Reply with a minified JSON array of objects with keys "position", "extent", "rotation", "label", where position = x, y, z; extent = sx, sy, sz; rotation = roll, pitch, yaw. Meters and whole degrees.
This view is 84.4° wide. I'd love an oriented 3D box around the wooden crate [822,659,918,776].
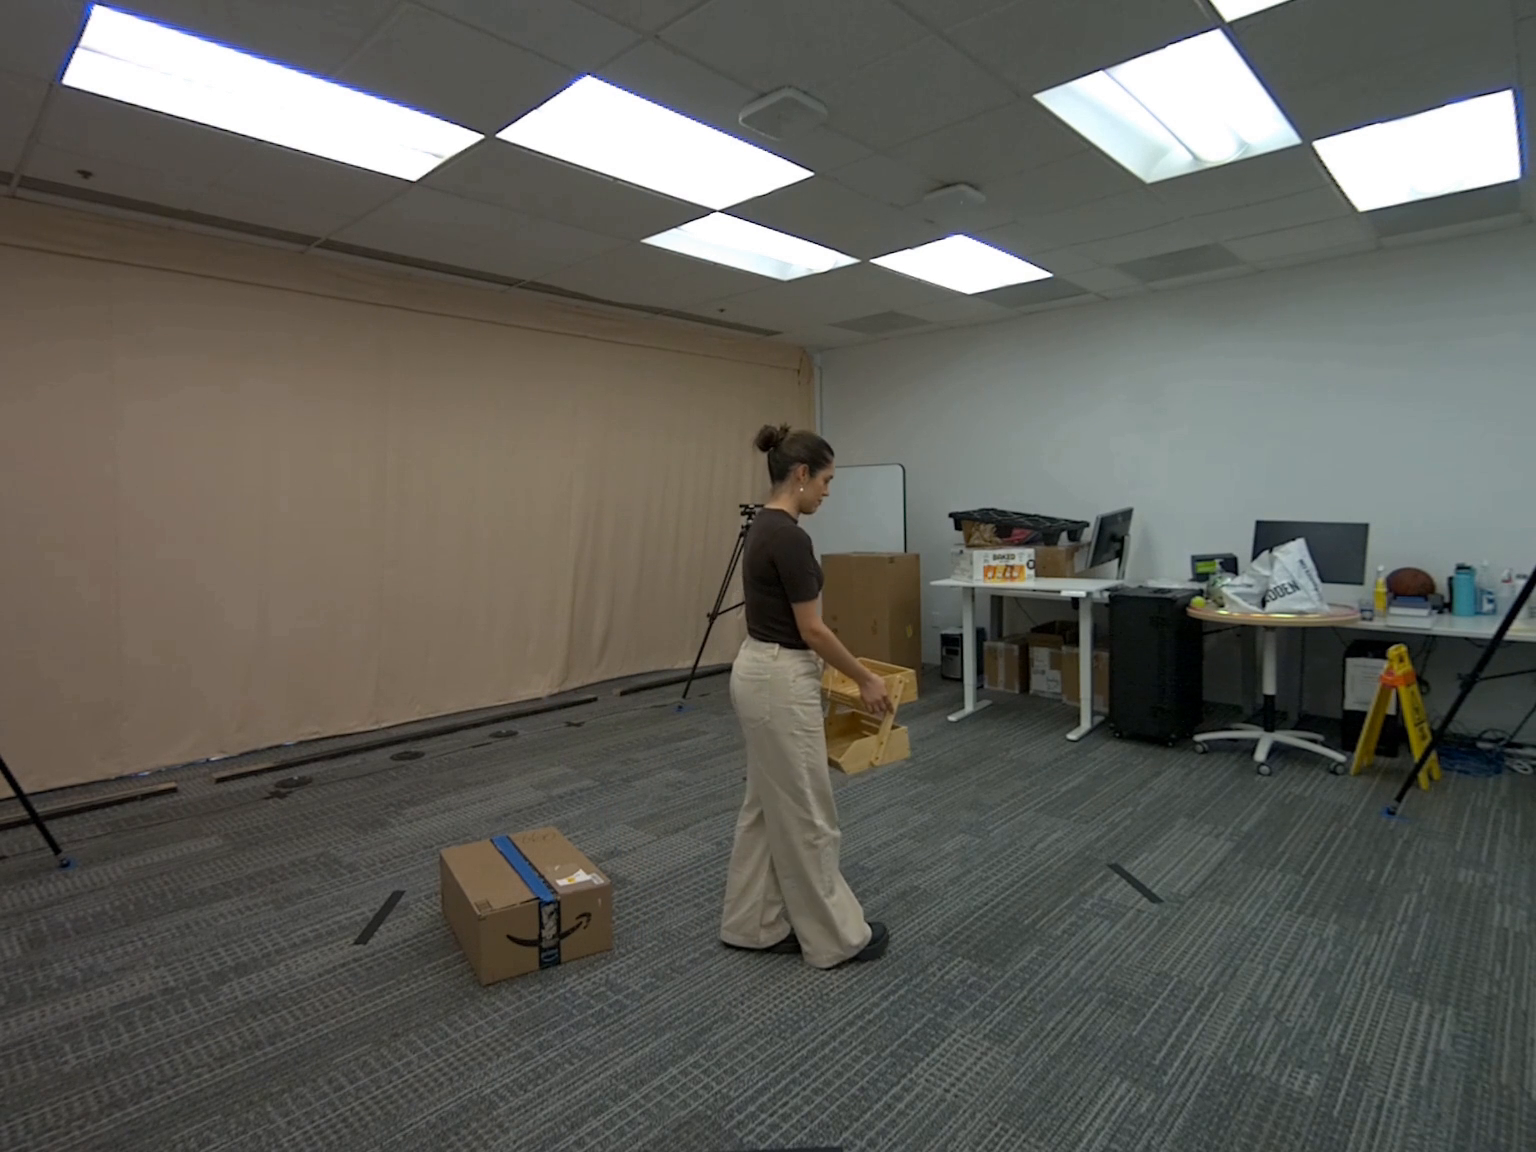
[{"position":[0.268,0.432,2.661],"extent":[0.296,0.272,0.332],"rotation":[-11,6,-25],"label":"wooden crate"}]
